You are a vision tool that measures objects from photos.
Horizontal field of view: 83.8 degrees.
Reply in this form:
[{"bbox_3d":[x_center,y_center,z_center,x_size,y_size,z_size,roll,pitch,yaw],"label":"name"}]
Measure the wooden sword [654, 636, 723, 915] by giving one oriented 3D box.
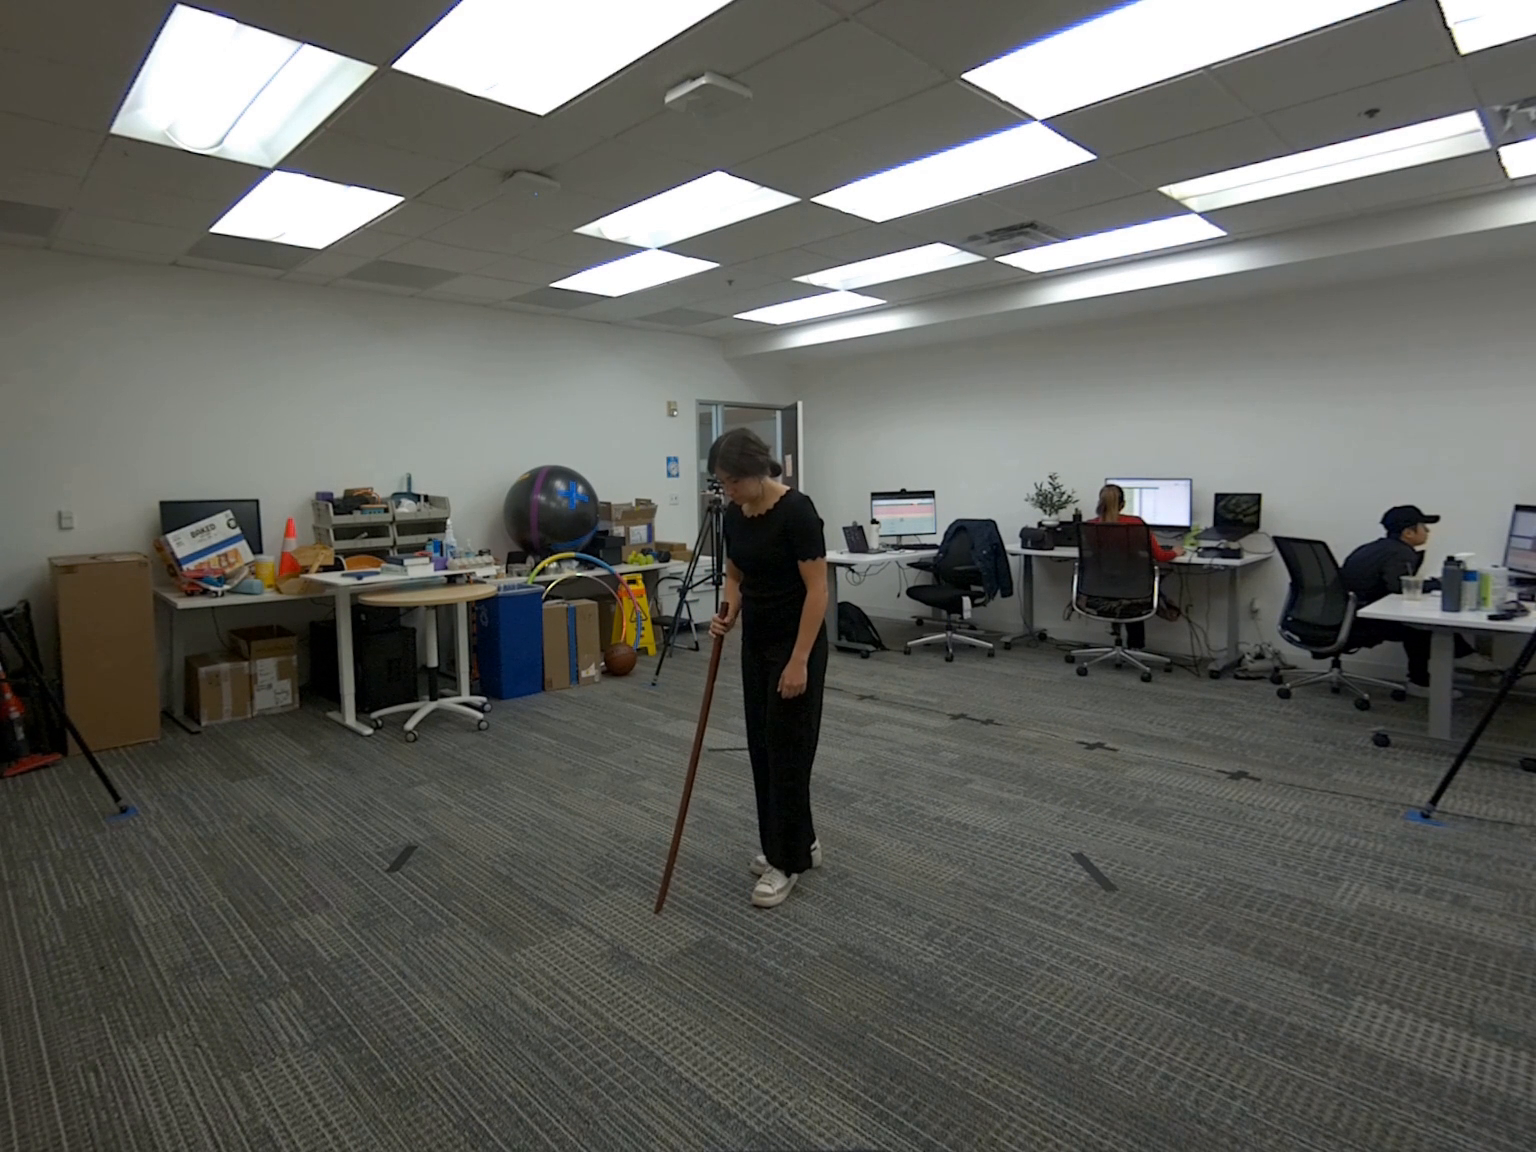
[{"bbox_3d":[-0.248,0.613,2.820,0.024,1.030,0.050,8,-8,17],"label":"wooden sword"}]
